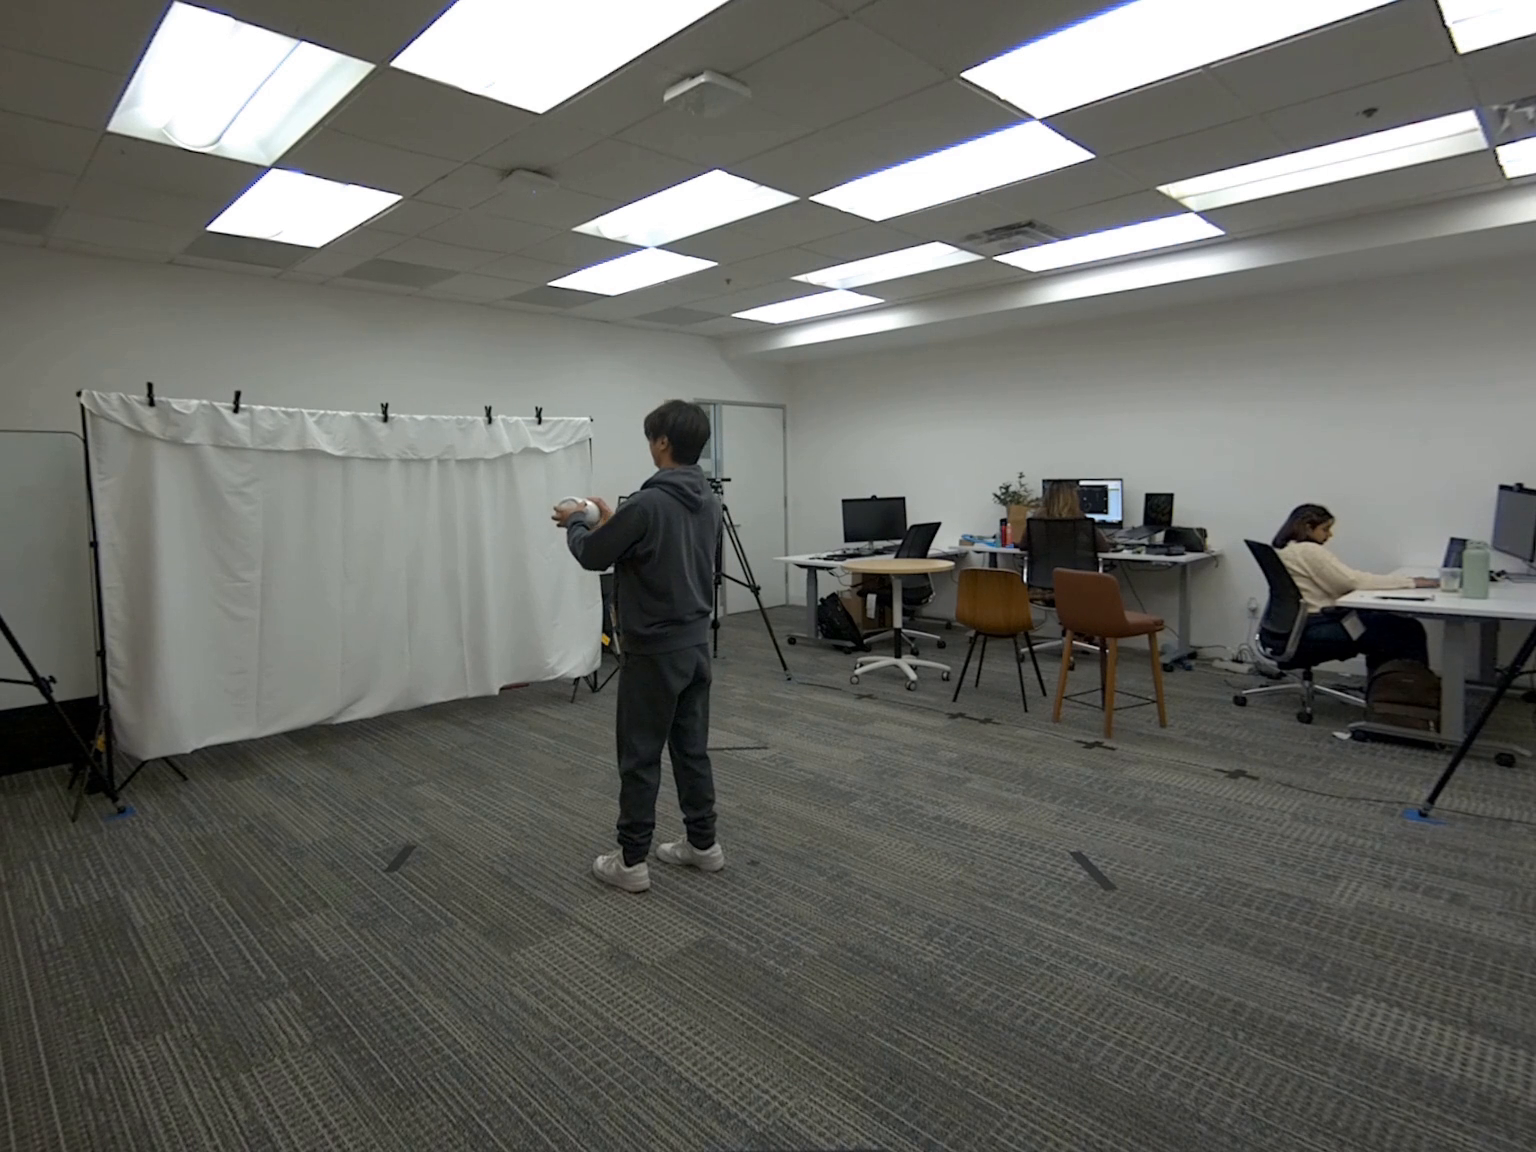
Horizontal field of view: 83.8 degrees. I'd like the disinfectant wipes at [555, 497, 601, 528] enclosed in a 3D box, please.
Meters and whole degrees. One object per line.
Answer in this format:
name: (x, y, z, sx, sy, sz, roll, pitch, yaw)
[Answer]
disinfectant wipes: (-0.704, -0.243, 3.256, 0.119, 0.118, 0.215, 0, 1, 12)
